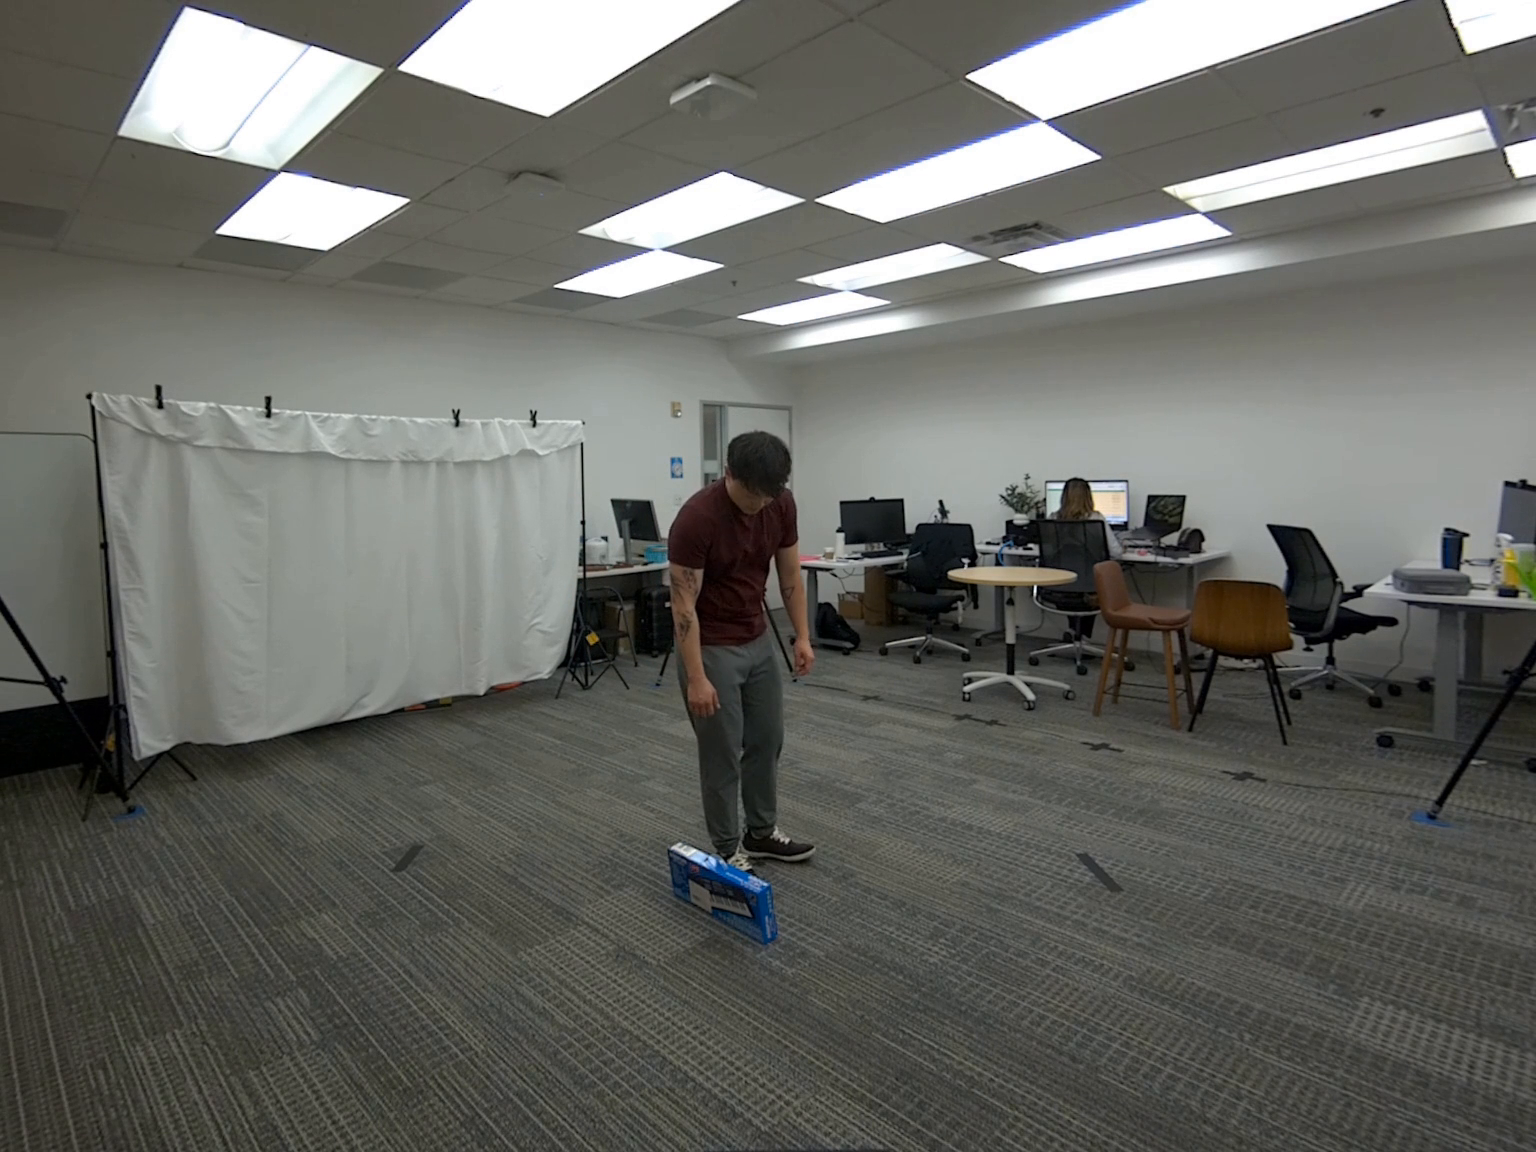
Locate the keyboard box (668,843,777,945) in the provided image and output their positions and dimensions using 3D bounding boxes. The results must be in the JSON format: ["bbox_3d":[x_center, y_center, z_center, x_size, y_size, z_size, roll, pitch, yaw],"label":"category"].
[{"bbox_3d":[-0.152,1.010,2.732,0.058,0.174,0.450,-16,15,-41],"label":"keyboard box"}]
